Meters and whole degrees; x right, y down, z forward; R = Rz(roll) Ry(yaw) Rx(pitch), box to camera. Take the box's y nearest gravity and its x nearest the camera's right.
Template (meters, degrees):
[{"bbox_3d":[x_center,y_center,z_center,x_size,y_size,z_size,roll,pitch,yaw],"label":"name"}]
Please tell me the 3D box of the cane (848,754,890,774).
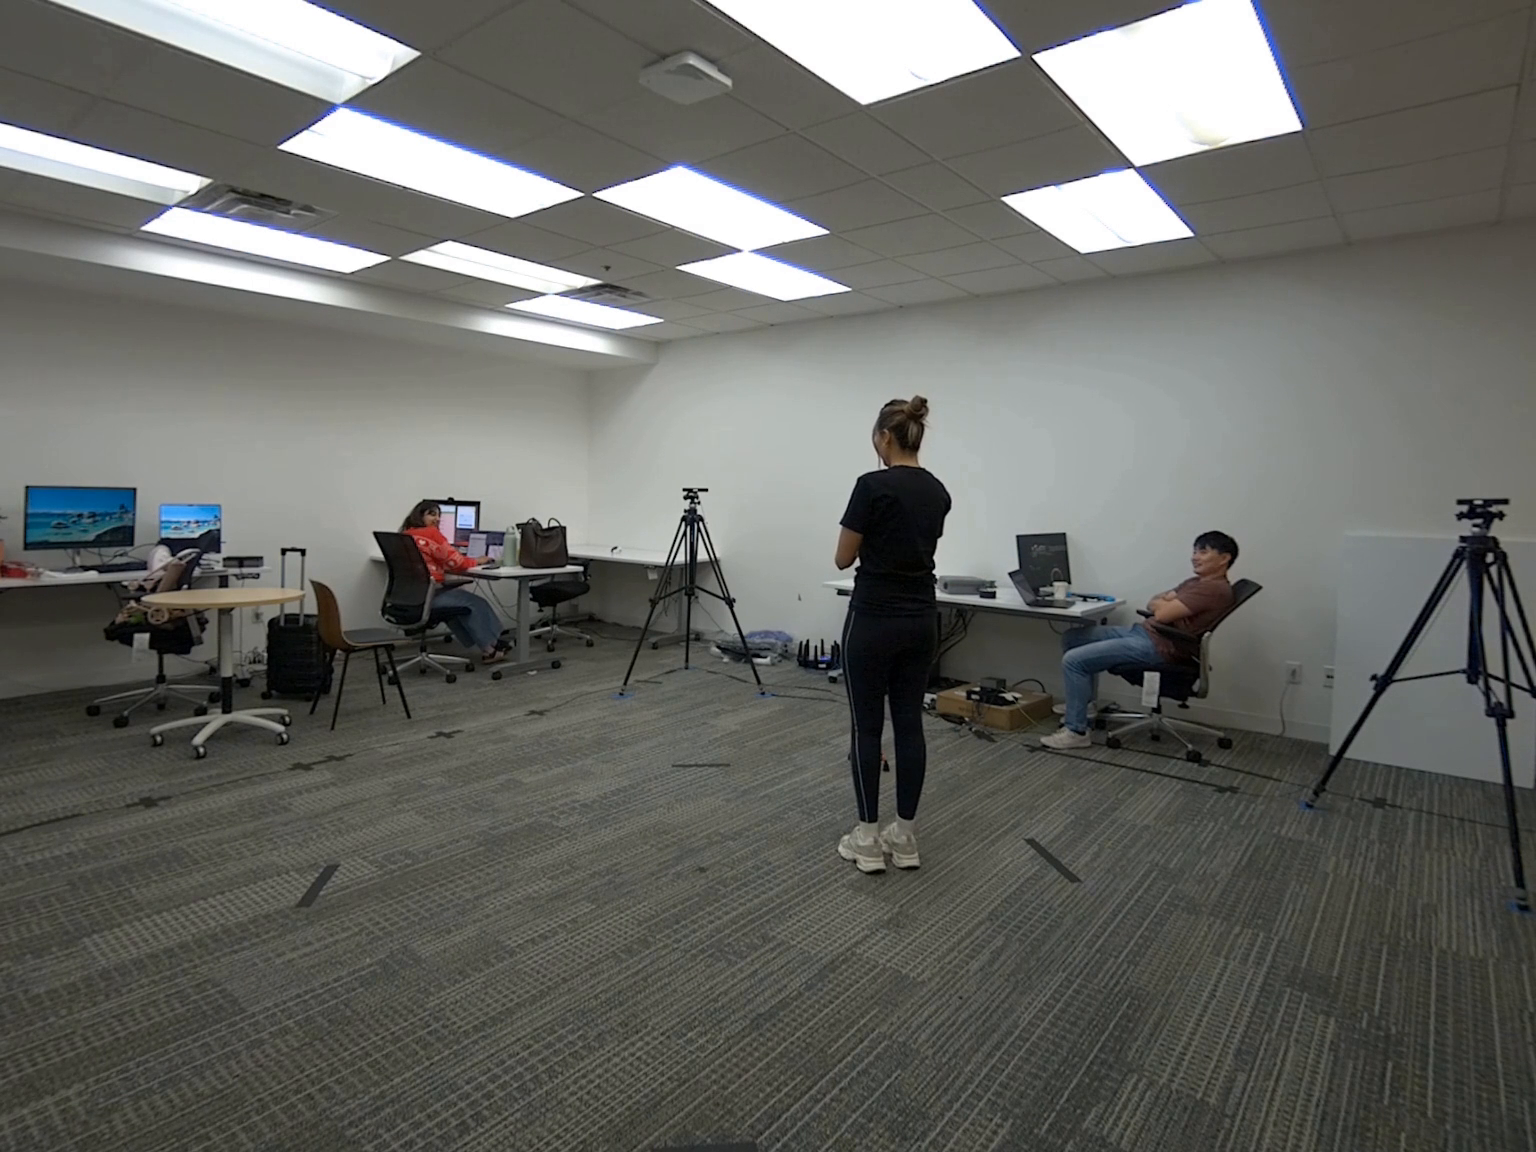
[{"bbox_3d":[0.386,0.321,3.493,0.152,0.908,0.205,1,0,5],"label":"cane"}]
